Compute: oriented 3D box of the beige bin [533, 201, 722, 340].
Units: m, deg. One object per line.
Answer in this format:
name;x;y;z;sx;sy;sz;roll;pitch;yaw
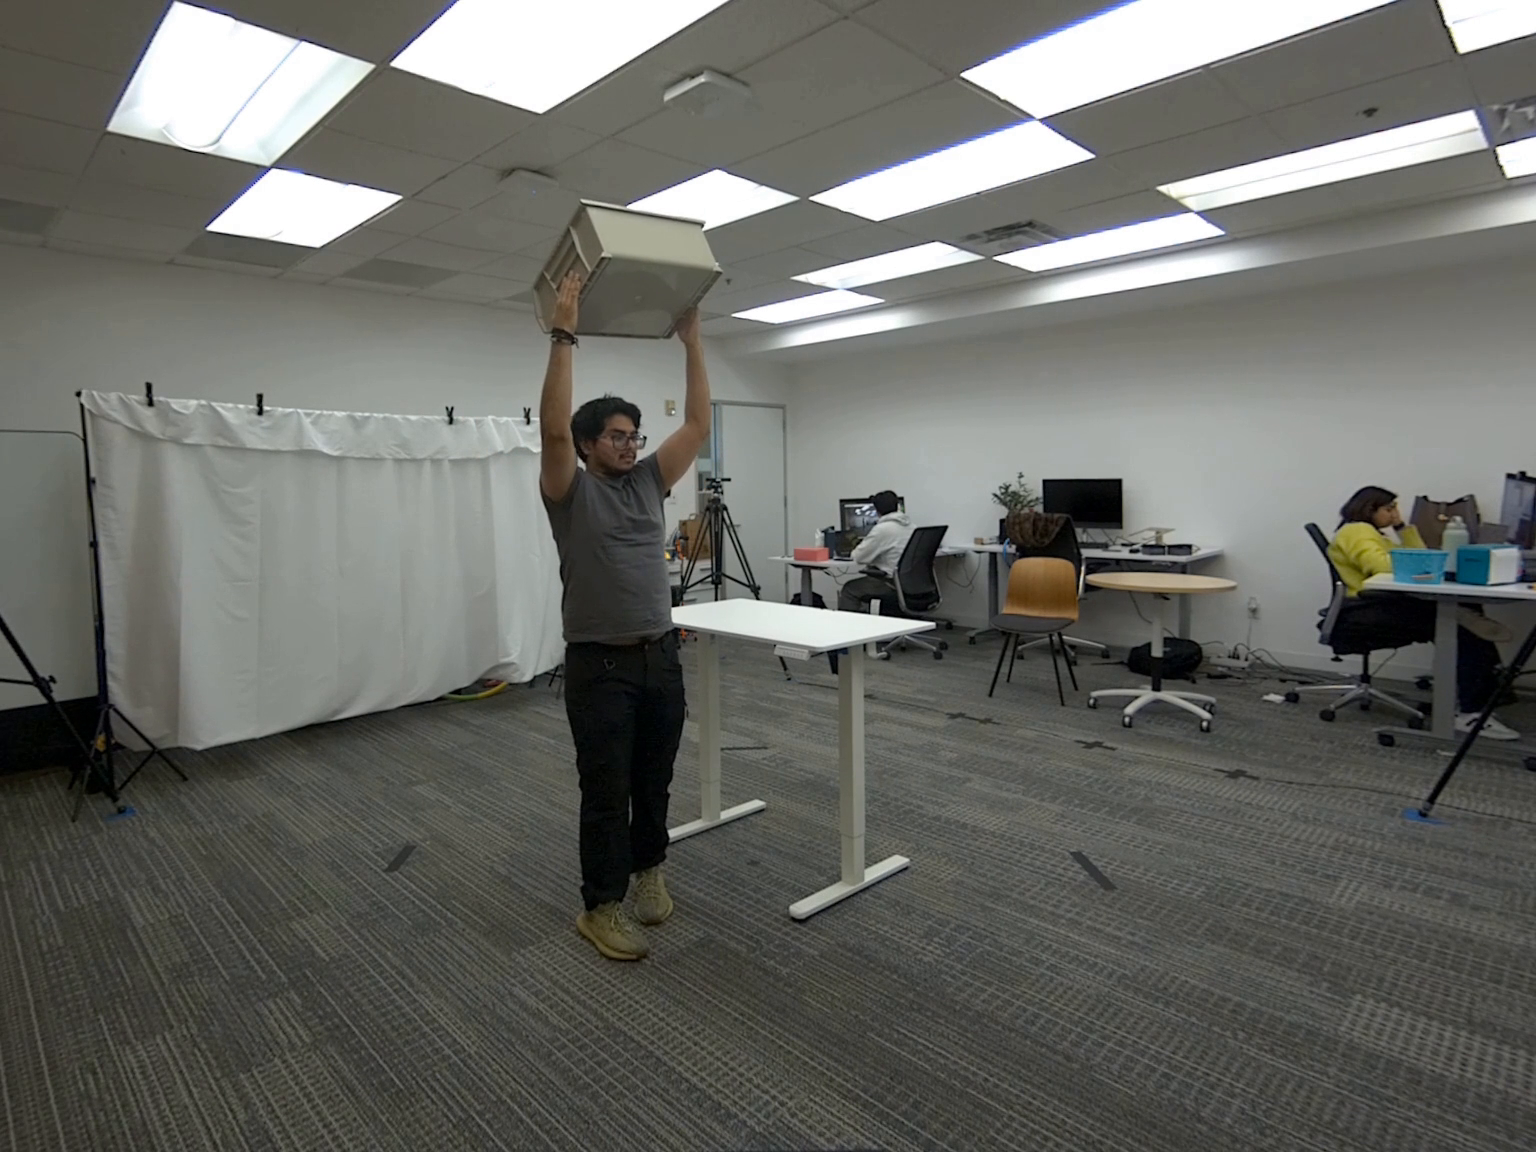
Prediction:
beige bin;-0.401;-0.849;2.458;0.412;0.192;0.380;-9;-19;-42
